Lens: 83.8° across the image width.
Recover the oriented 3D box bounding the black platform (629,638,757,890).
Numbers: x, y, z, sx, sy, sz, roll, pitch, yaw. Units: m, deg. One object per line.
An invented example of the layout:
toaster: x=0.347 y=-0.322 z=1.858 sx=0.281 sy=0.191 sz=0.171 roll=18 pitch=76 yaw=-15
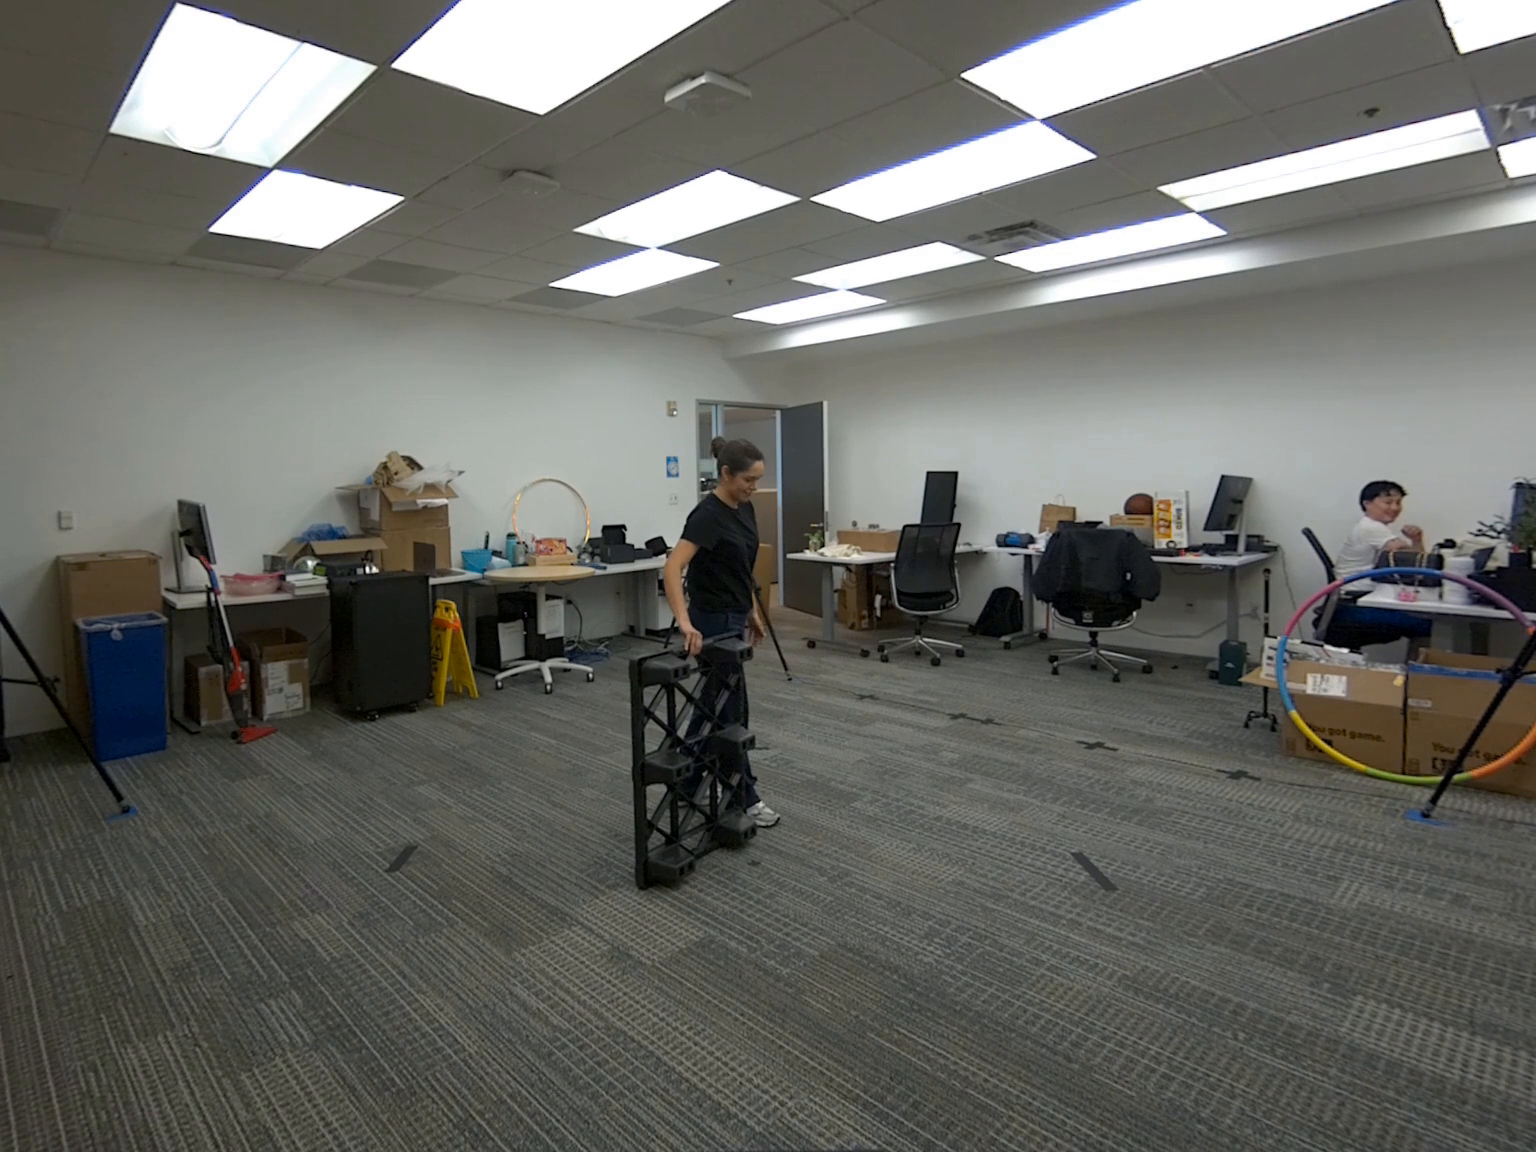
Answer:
black platform: x=-0.248 y=0.653 z=3.123 sx=0.147 sy=0.803 sz=0.590 roll=0 pitch=5 yaw=36
